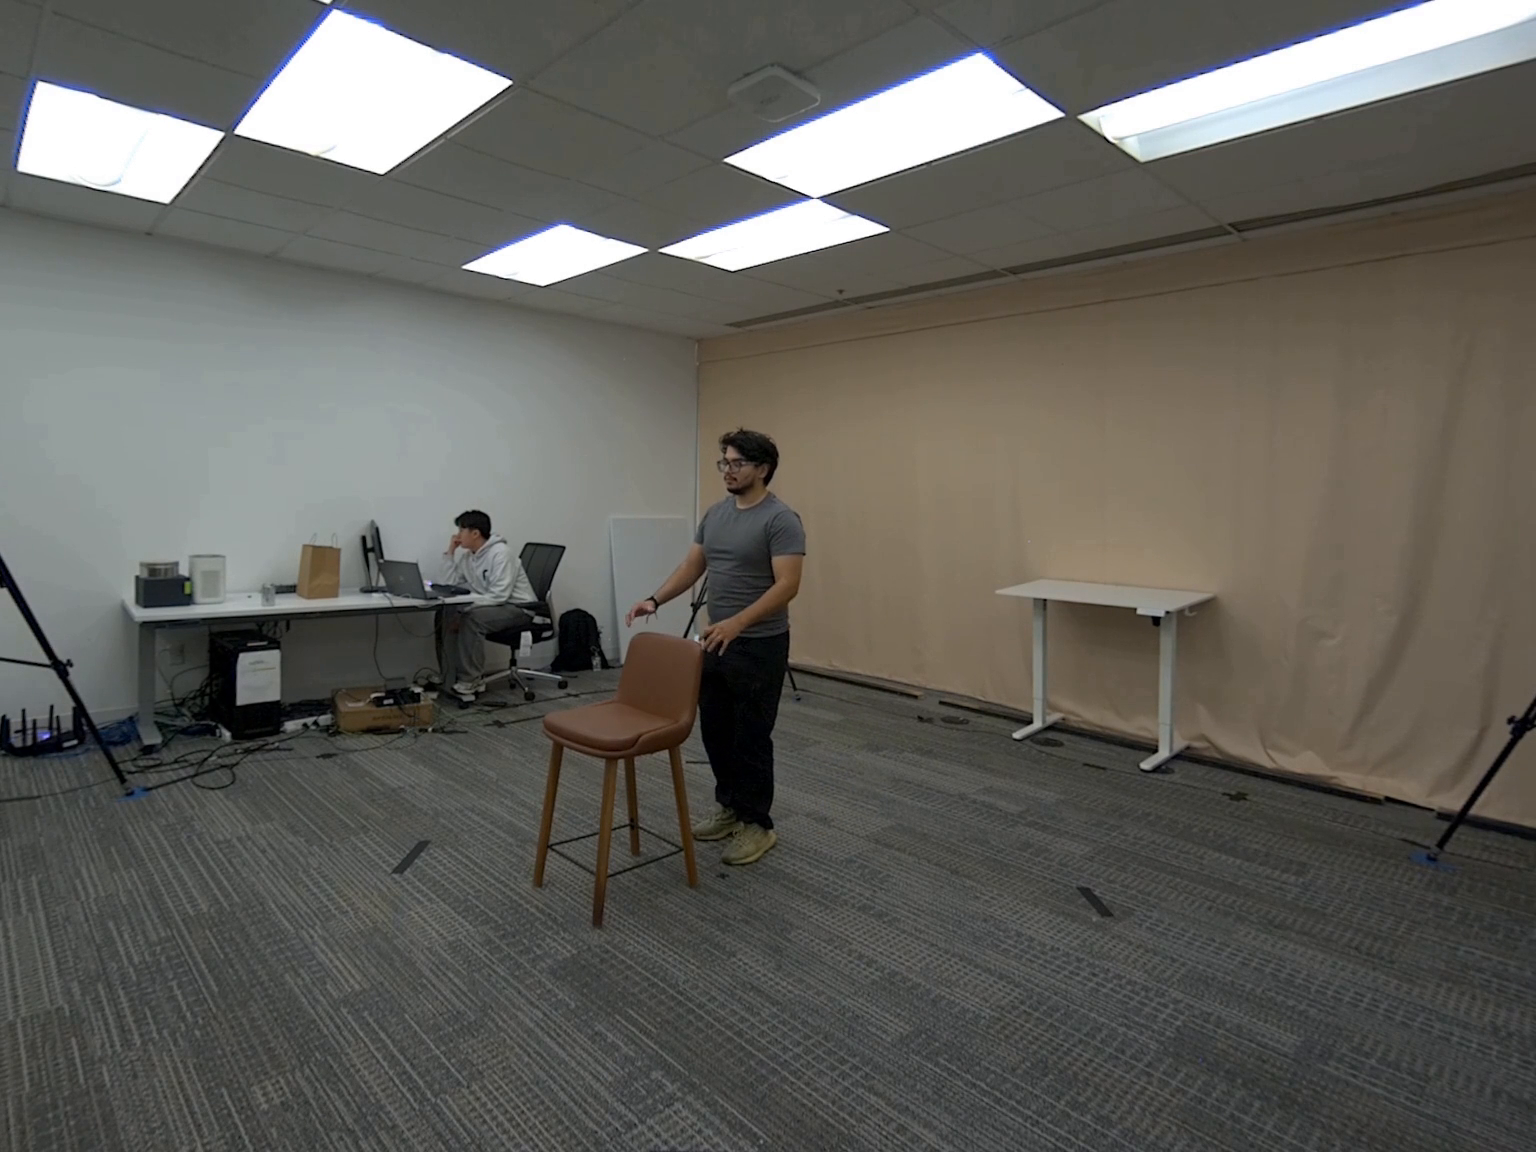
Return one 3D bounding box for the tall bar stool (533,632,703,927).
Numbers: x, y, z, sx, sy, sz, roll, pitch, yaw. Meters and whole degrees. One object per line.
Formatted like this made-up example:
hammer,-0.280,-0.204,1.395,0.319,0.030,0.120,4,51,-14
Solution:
tall bar stool,-0.525,0.674,2.982,0.456,0.888,0.468,1,3,-44
